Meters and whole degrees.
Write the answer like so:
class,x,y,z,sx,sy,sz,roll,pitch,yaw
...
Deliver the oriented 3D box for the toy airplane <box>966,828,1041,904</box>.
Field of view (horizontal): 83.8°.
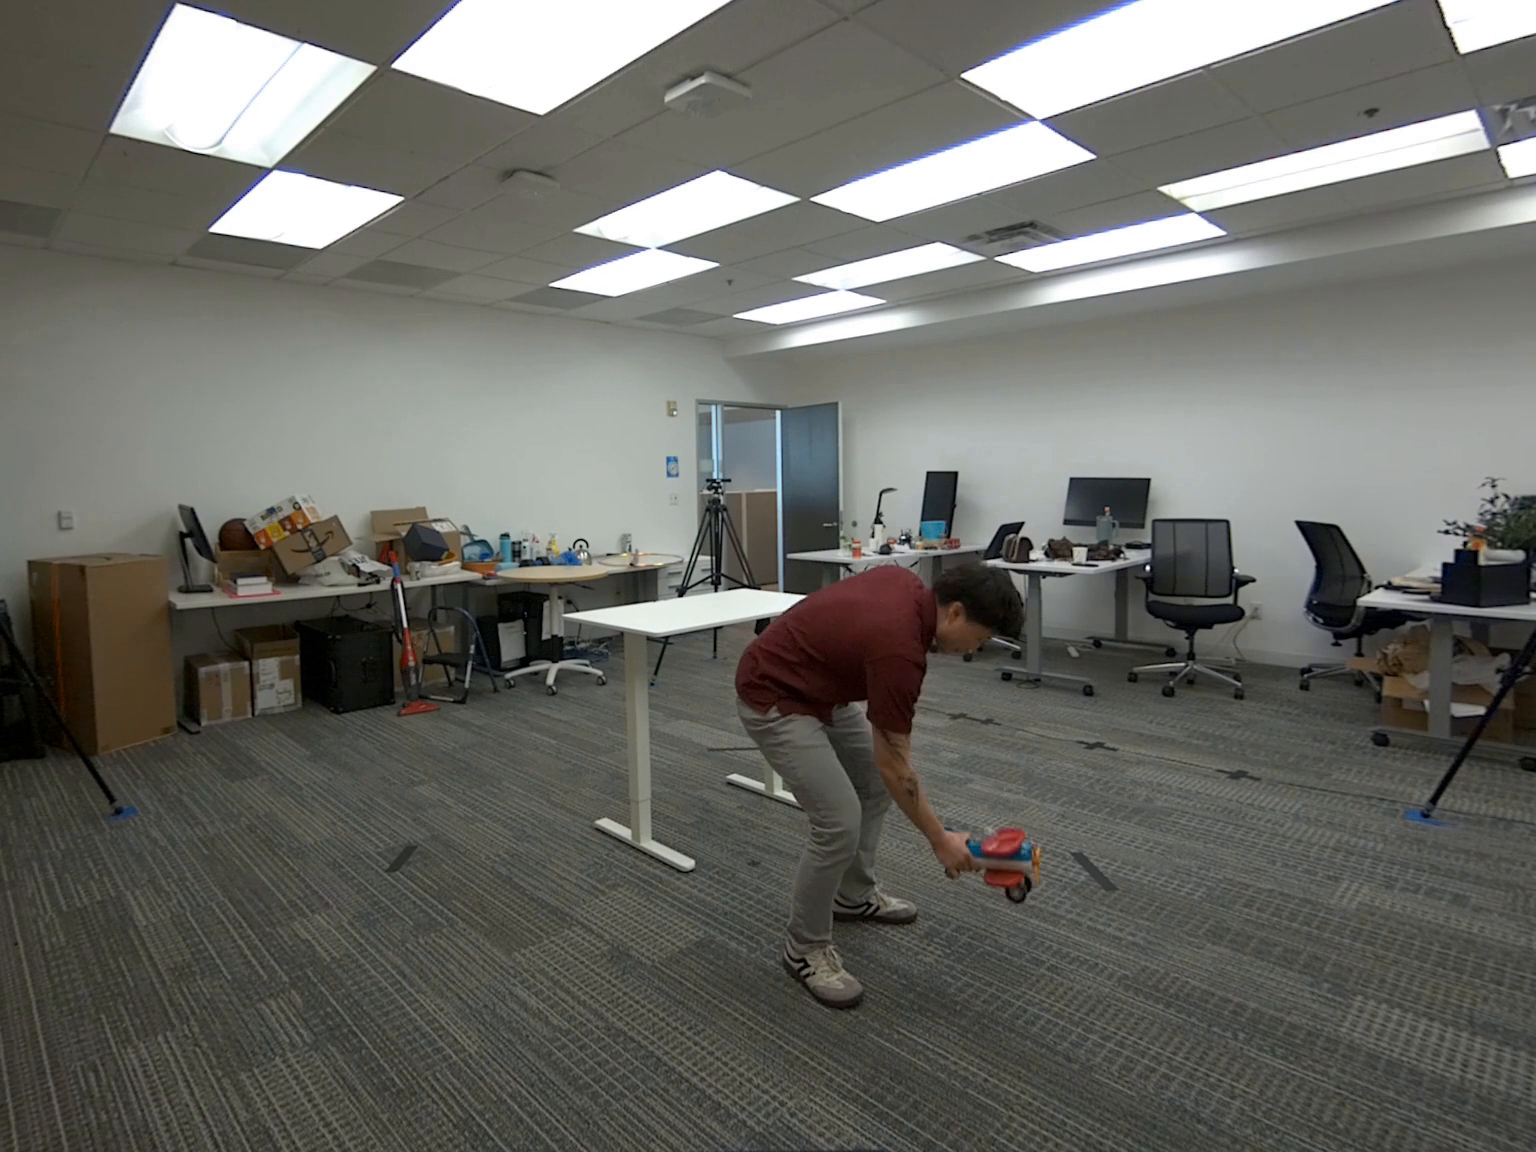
class,x,y,z,sx,sy,sz,roll,pitch,yaw
toy airplane,0.600,0.754,2.315,0.259,0.156,0.251,9,1,-1
